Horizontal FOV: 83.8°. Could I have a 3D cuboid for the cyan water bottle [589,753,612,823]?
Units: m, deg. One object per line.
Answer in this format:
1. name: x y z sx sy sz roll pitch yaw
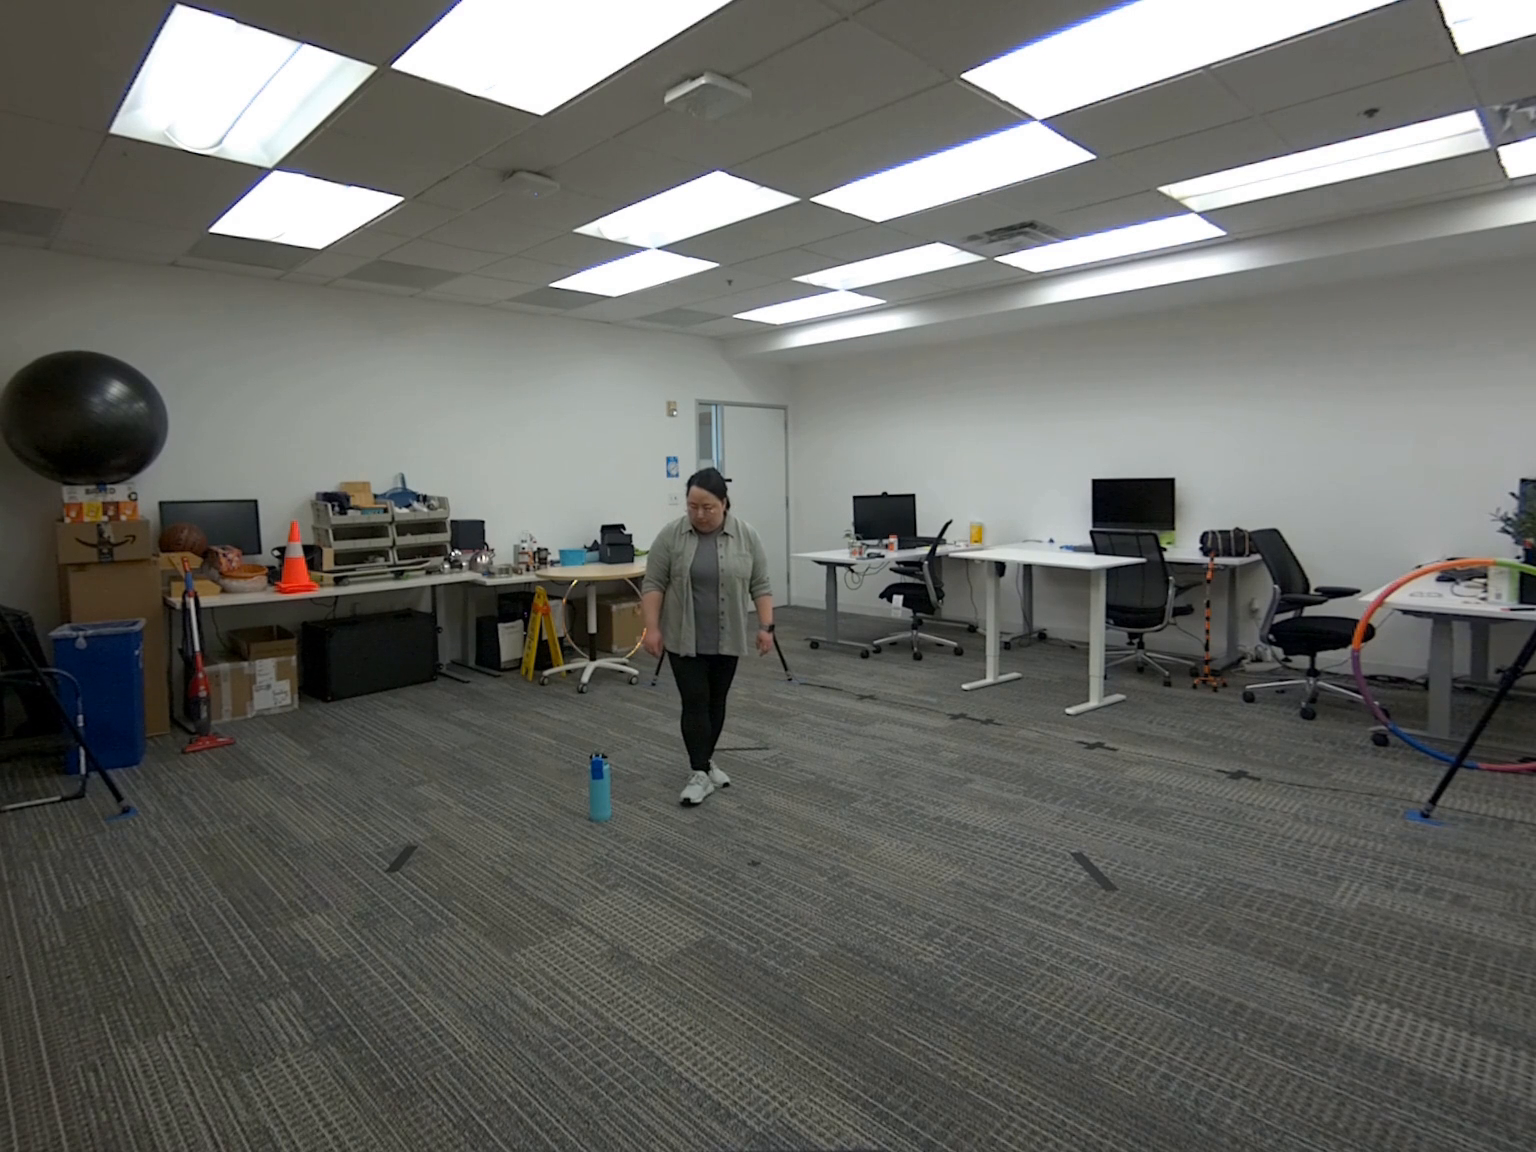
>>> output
1. cyan water bottle: -0.699 0.868 3.555 0.092 0.282 0.093 -1 3 -2
